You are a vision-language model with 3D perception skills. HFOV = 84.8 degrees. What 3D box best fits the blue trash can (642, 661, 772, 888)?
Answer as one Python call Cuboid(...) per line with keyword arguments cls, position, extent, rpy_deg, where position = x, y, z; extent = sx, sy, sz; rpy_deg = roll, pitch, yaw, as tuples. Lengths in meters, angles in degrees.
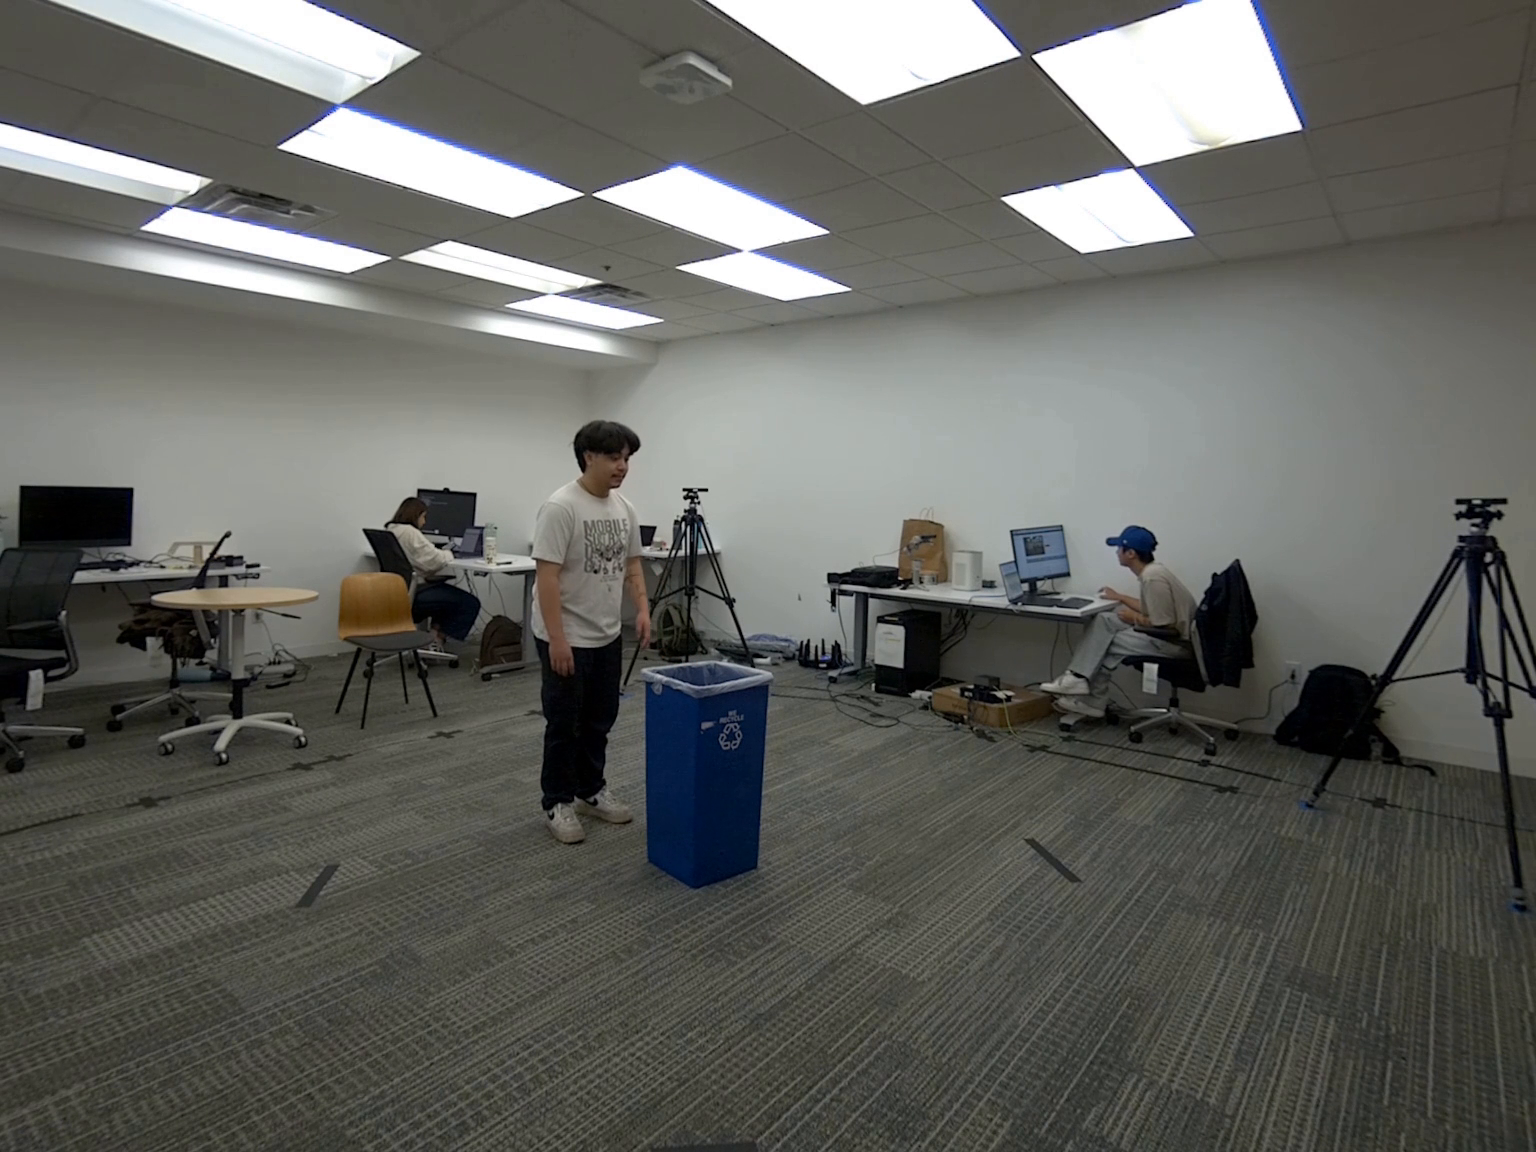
Cuboid(cls="blue trash can", position=(-0.239, 0.706, 3.145), extent=(0.363, 0.711, 0.391), rpy_deg=(-2, 4, -41))
